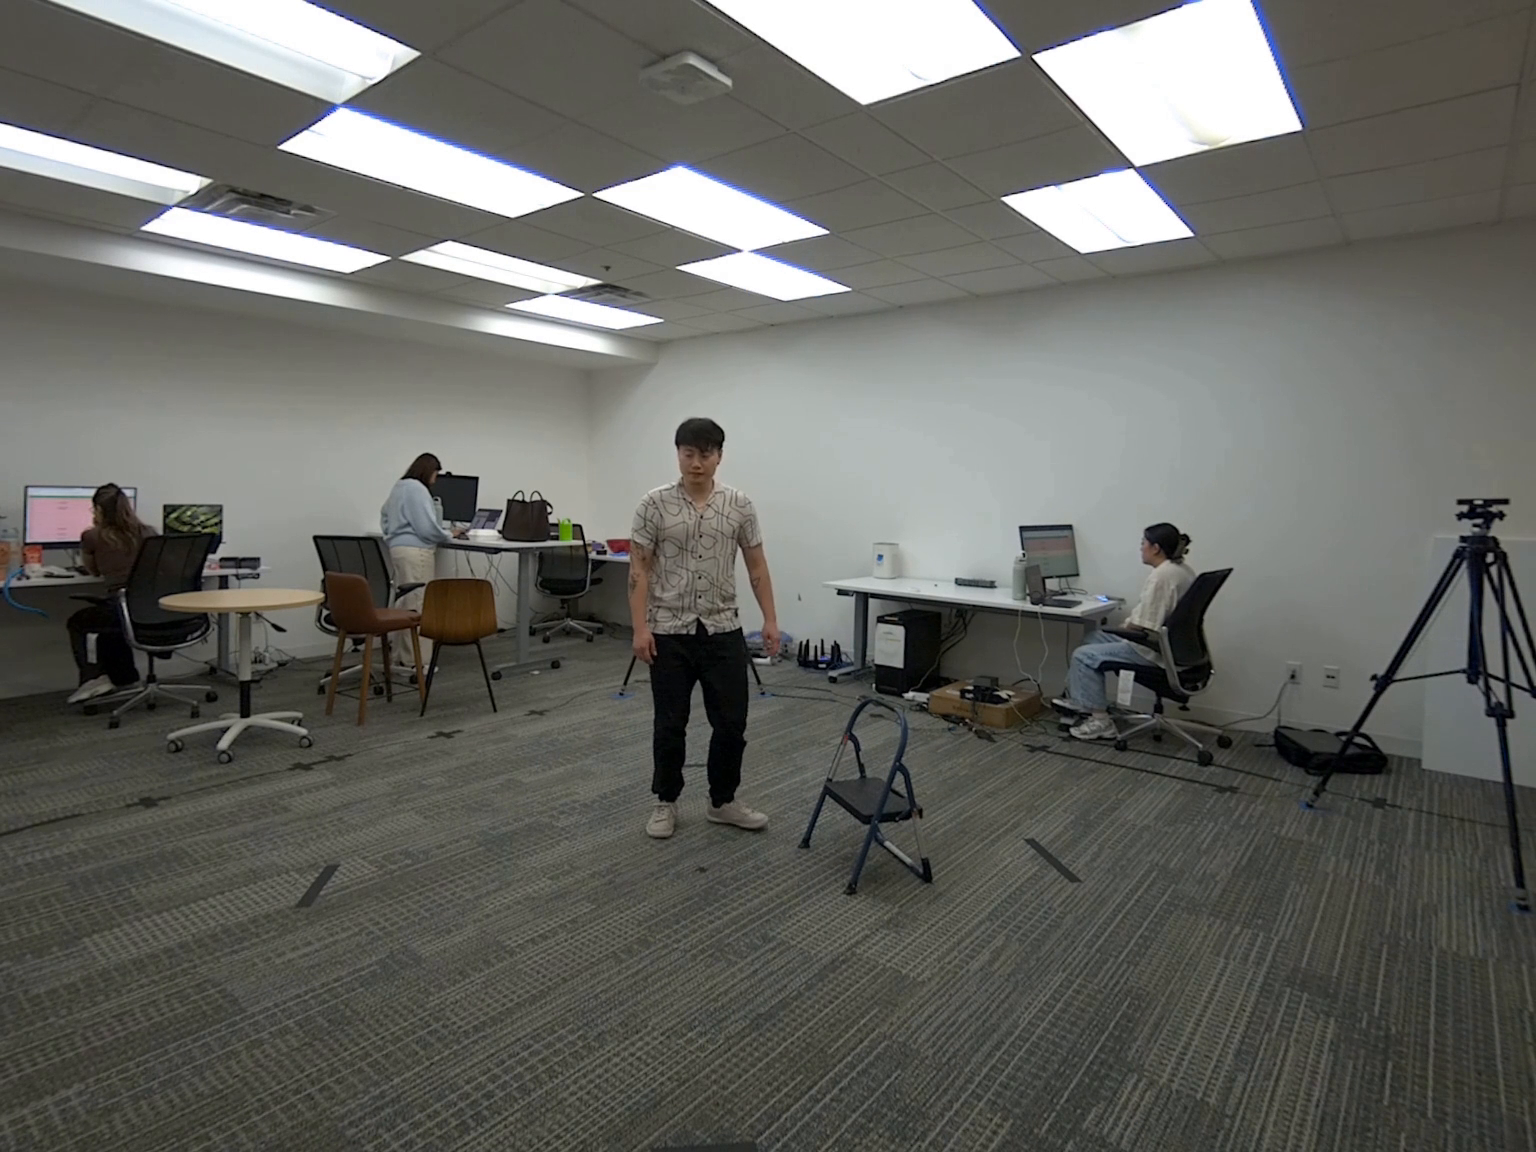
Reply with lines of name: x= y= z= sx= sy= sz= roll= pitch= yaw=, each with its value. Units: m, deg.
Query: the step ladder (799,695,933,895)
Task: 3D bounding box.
step ladder: x=0.360 y=0.771 z=3.173 sx=0.342 sy=0.604 sz=0.441 roll=0 pitch=4 yaw=-21
